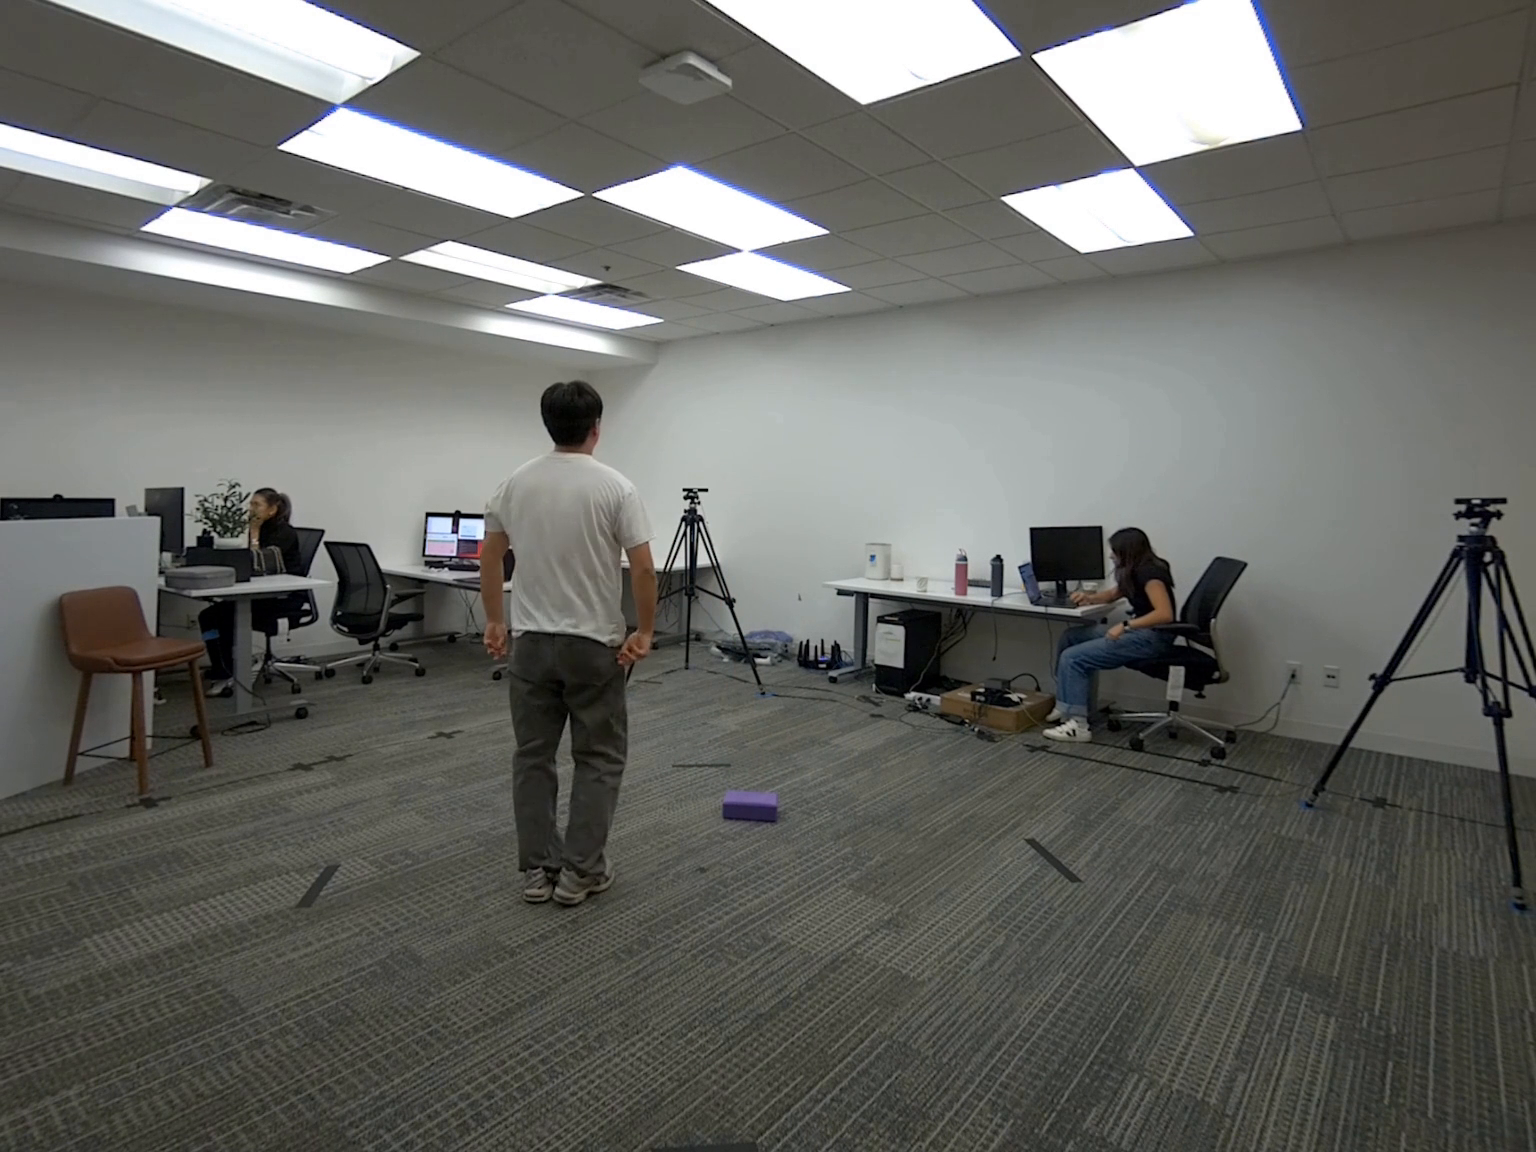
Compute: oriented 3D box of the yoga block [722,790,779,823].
[{"bbox_3d":[-0.073,0.975,3.649,0.231,0.076,0.148,1,7,7],"label":"yoga block"}]
